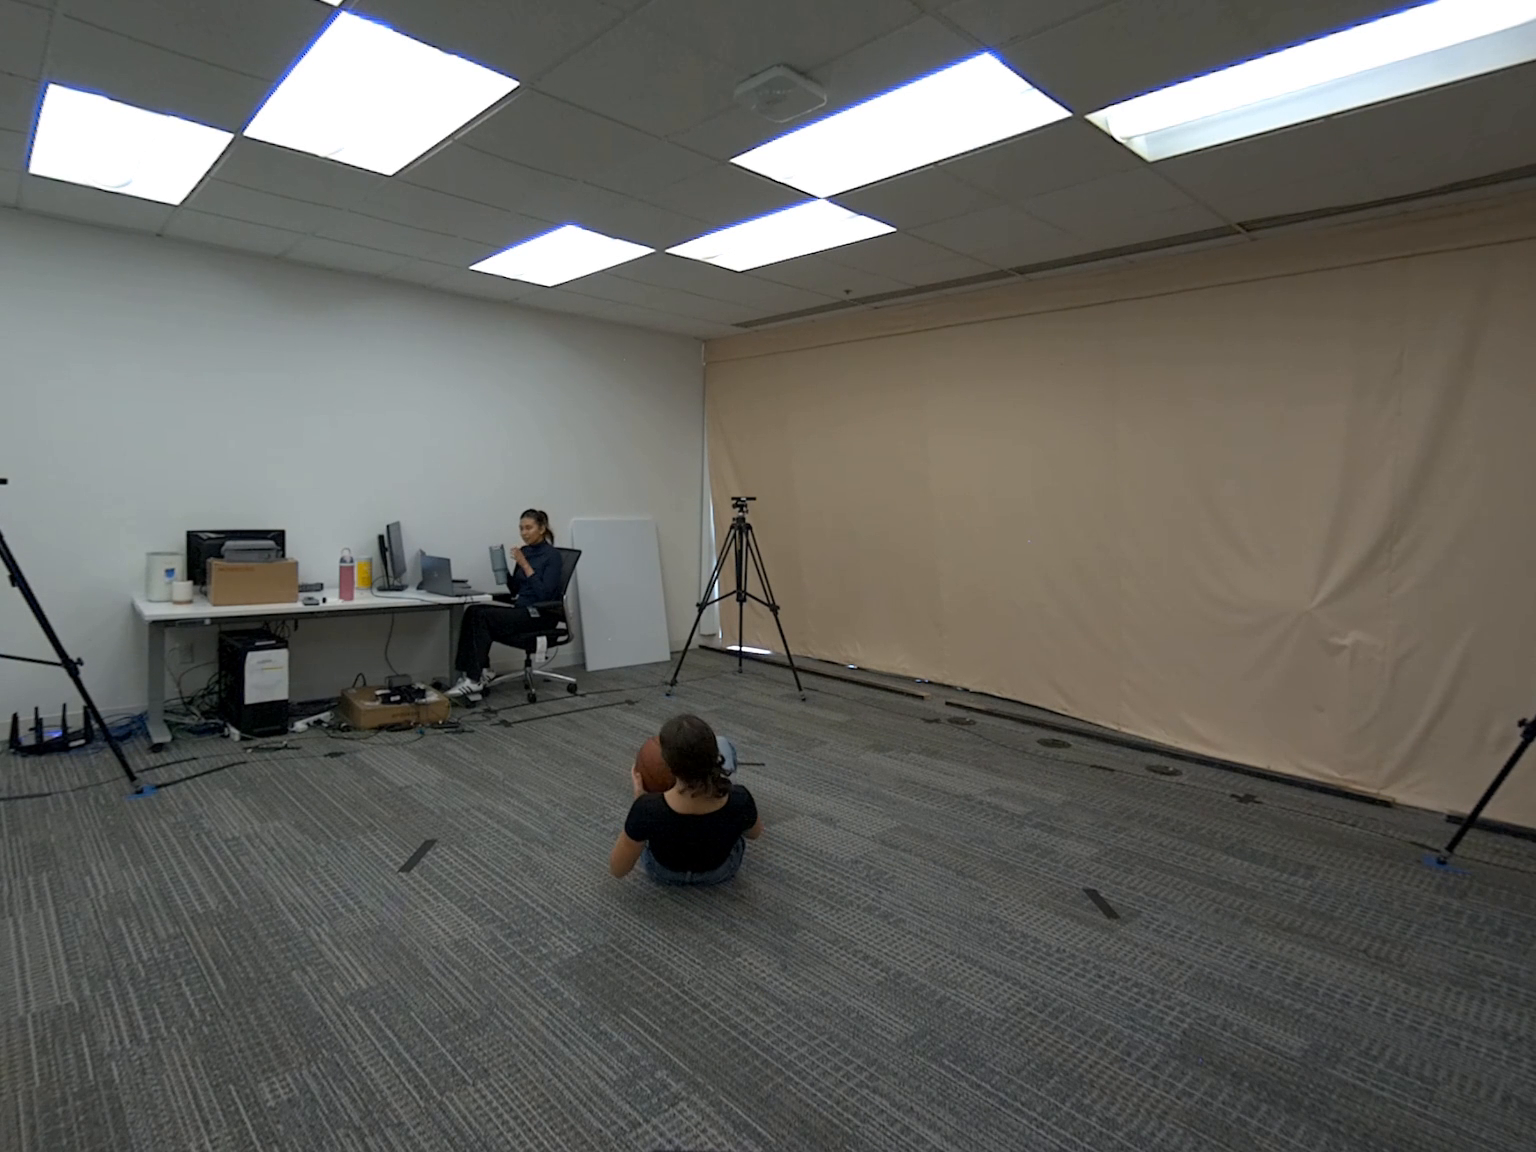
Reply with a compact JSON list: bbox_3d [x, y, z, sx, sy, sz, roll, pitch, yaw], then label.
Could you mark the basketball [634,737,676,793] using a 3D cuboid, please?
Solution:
[{"bbox_3d":[-0.370,0.704,3.069,0.236,0.235,0.237,1,4,-1],"label":"basketball"}]
